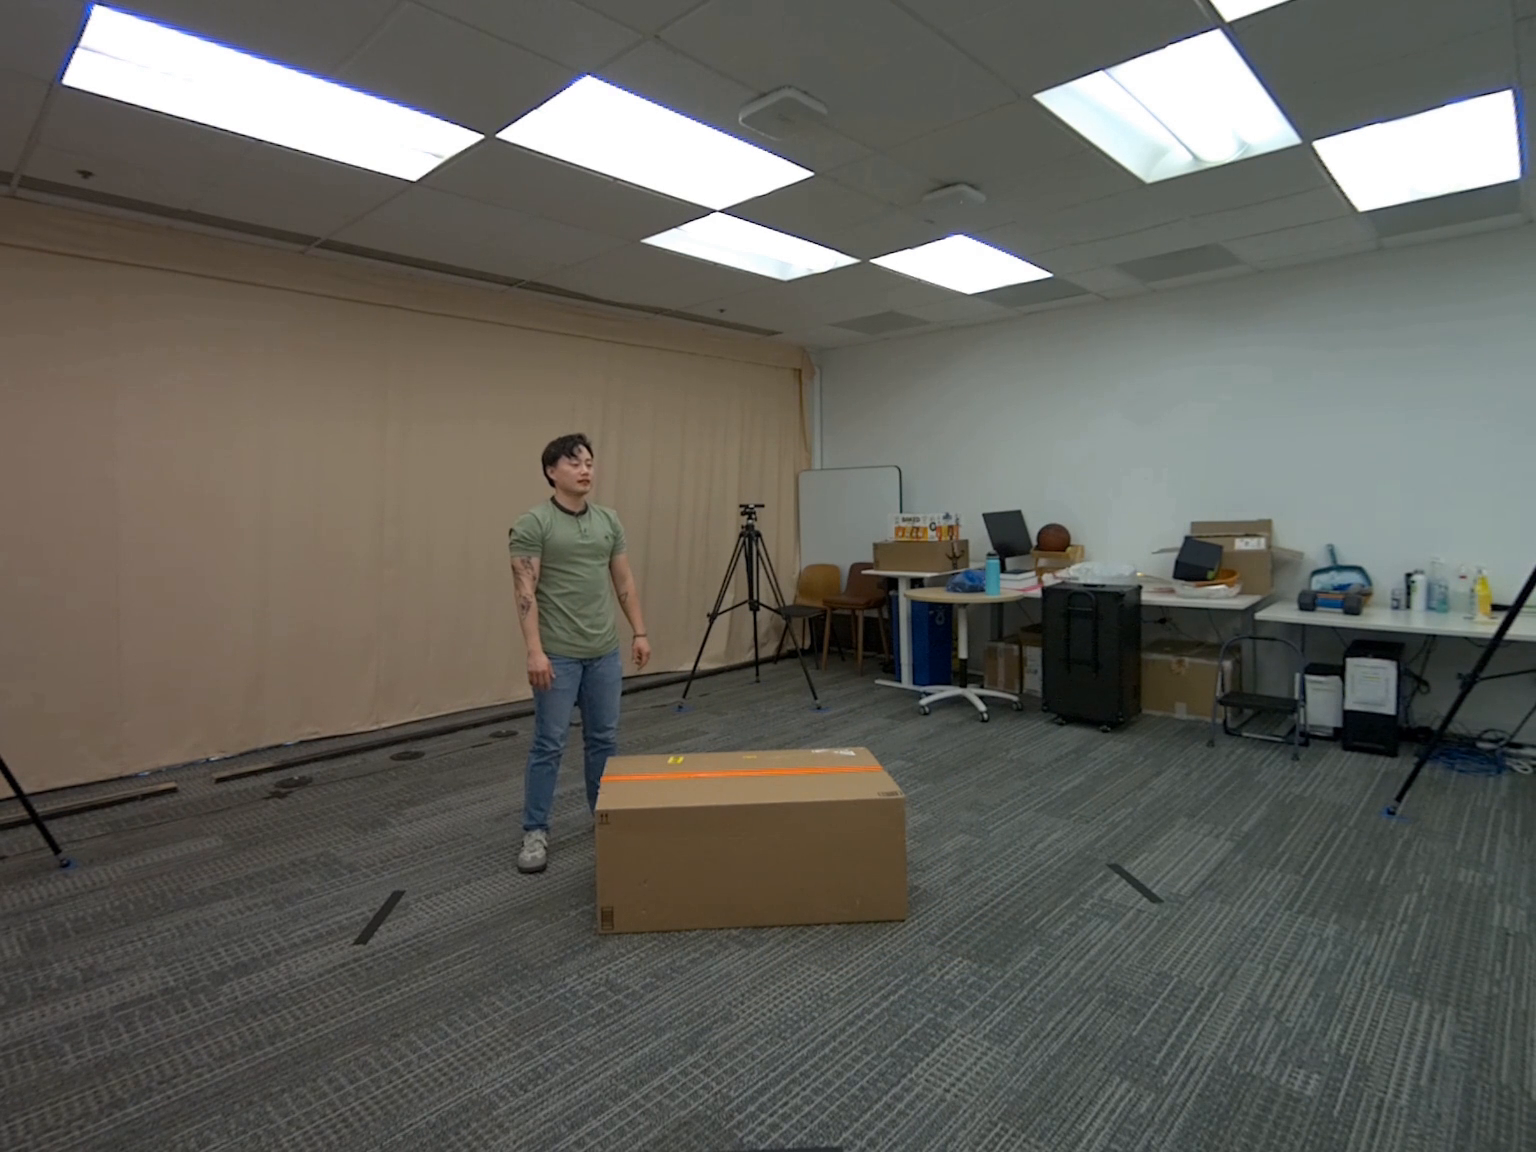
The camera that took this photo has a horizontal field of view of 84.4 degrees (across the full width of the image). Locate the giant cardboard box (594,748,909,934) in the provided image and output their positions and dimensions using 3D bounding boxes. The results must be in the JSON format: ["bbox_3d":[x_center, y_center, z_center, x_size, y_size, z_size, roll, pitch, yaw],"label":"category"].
[{"bbox_3d":[-0.078,0.921,3.035,1.022,0.425,0.581,-2,4,-4],"label":"giant cardboard box"}]
